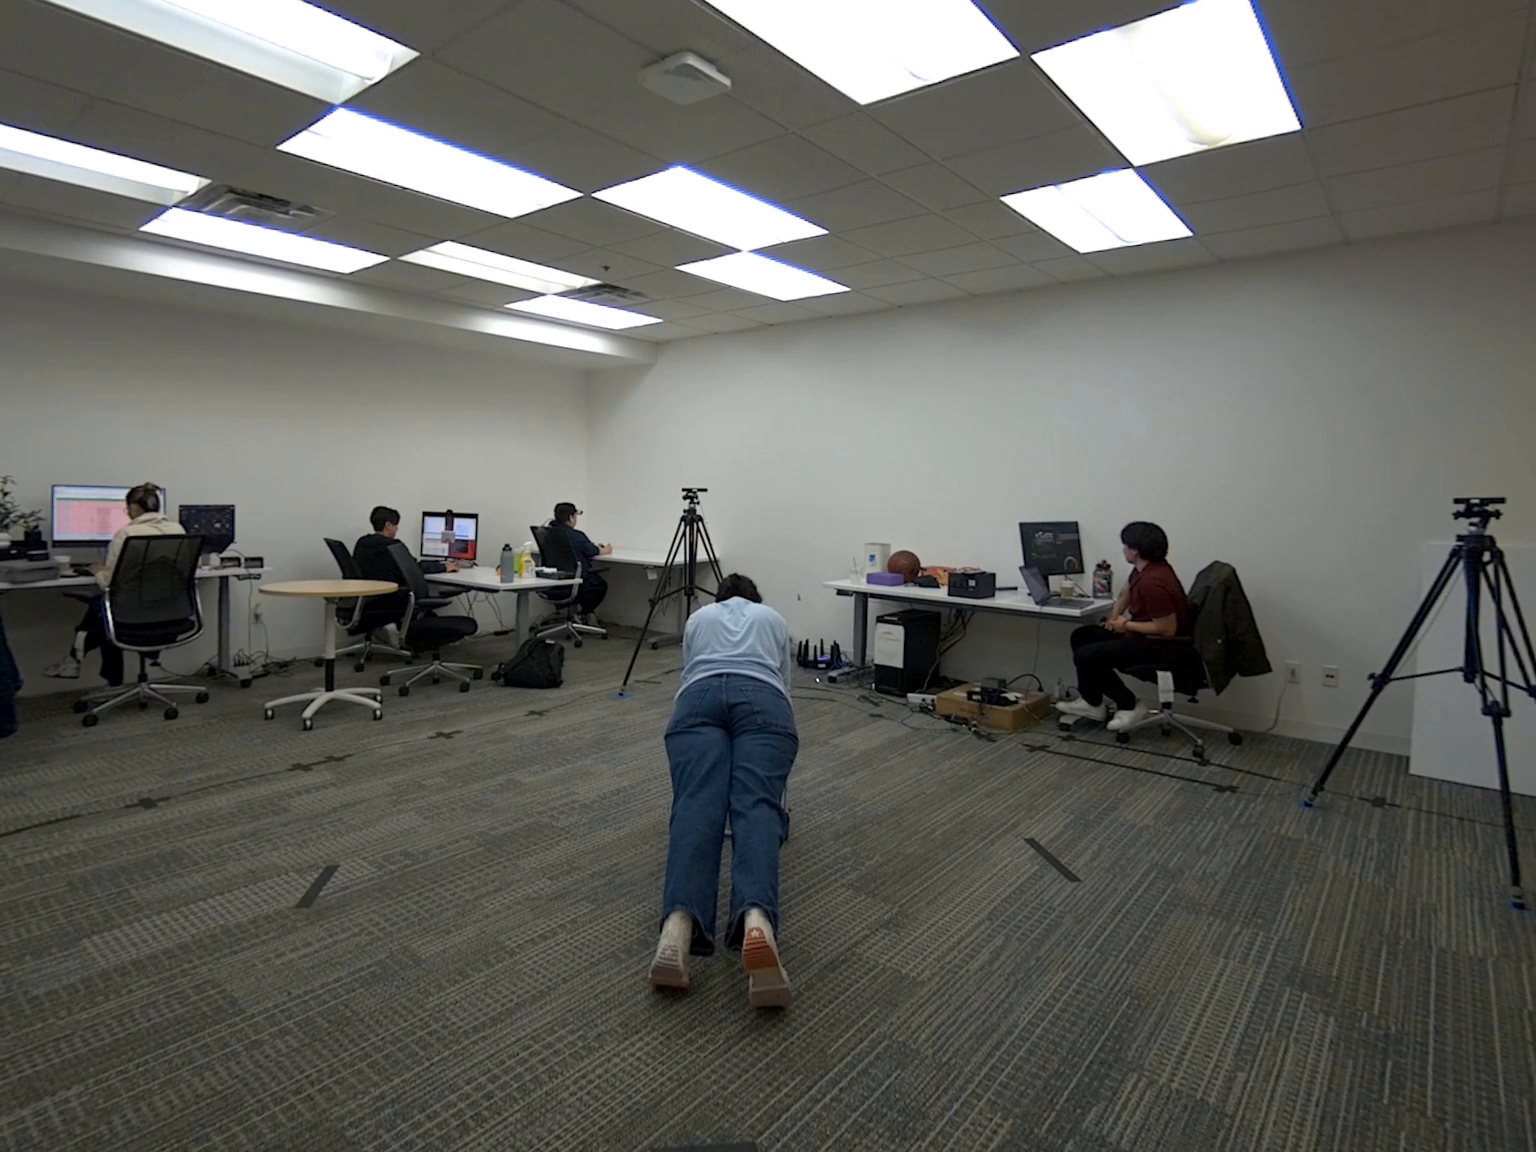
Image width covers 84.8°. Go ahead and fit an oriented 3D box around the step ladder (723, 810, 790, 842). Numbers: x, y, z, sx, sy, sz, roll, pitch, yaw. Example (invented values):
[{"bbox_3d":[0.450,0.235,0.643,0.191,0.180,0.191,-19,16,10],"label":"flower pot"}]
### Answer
[{"bbox_3d":[-0.125,0.724,3.549,0.433,0.604,0.349,1,3,3],"label":"step ladder"}]
